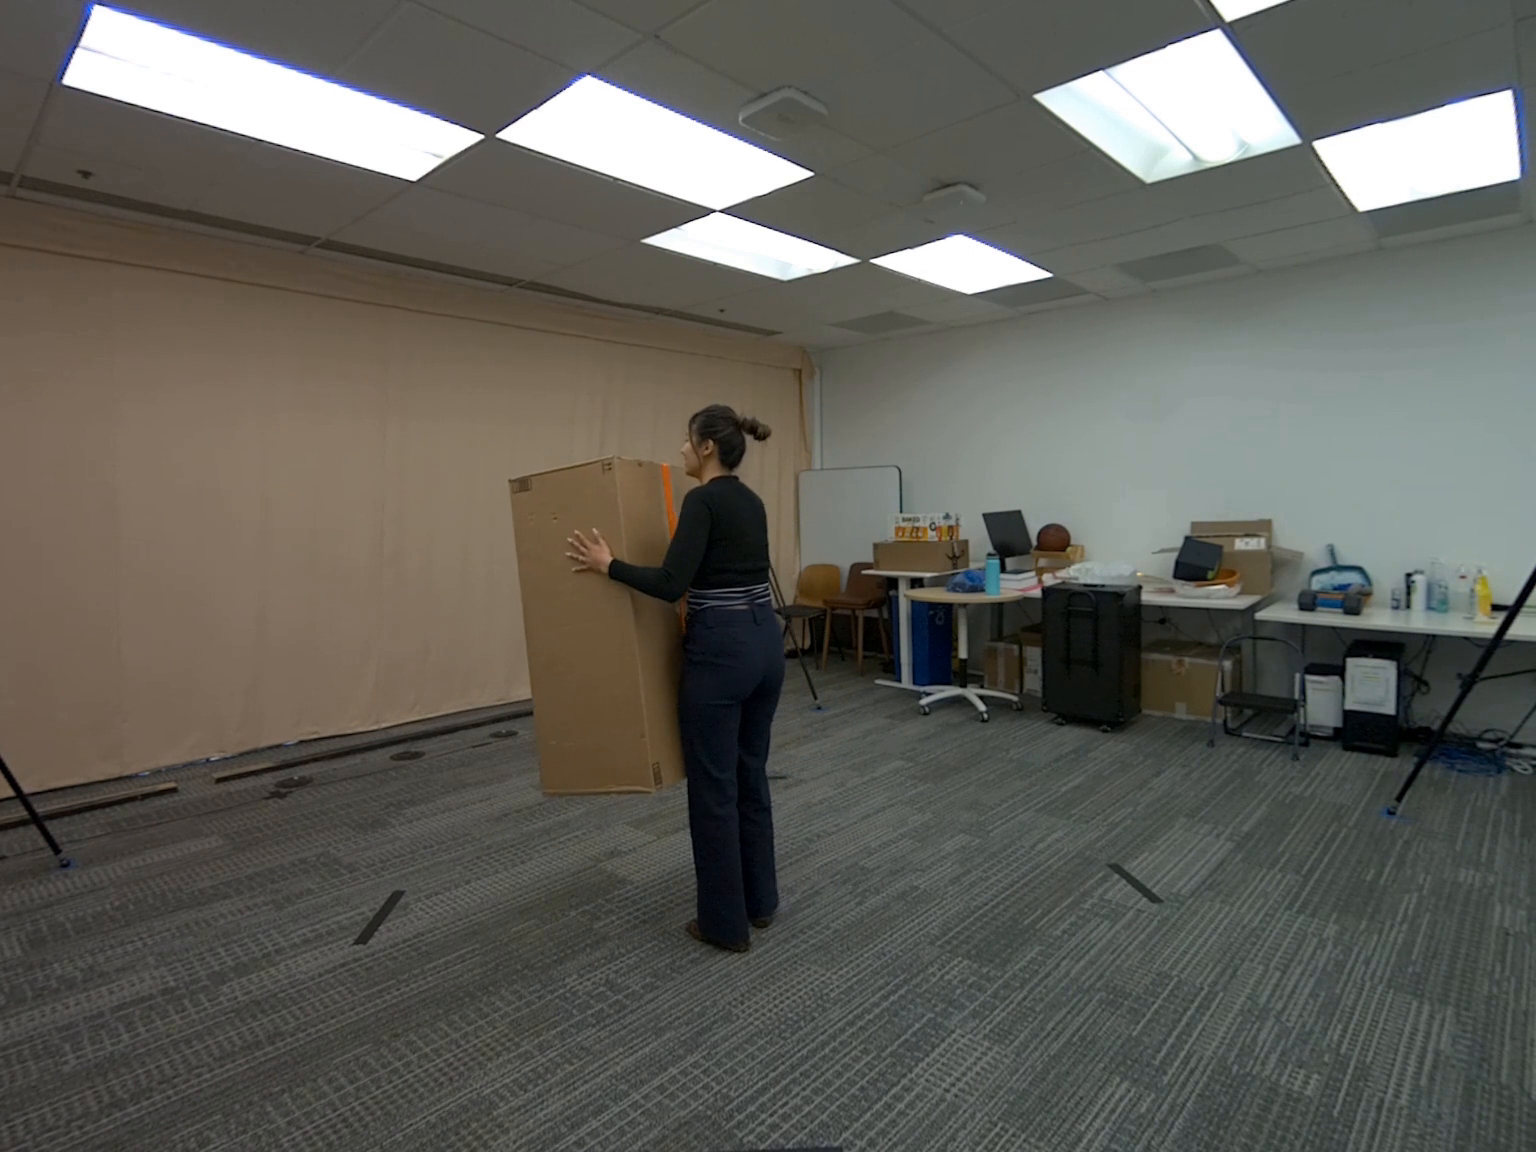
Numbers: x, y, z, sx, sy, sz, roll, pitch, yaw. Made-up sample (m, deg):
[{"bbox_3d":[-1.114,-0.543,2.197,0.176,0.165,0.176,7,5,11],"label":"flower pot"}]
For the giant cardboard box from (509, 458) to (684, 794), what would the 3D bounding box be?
[{"bbox_3d":[-0.478,0.160,2.877,0.435,1.029,0.563,-9,-4,24],"label":"giant cardboard box"}]
